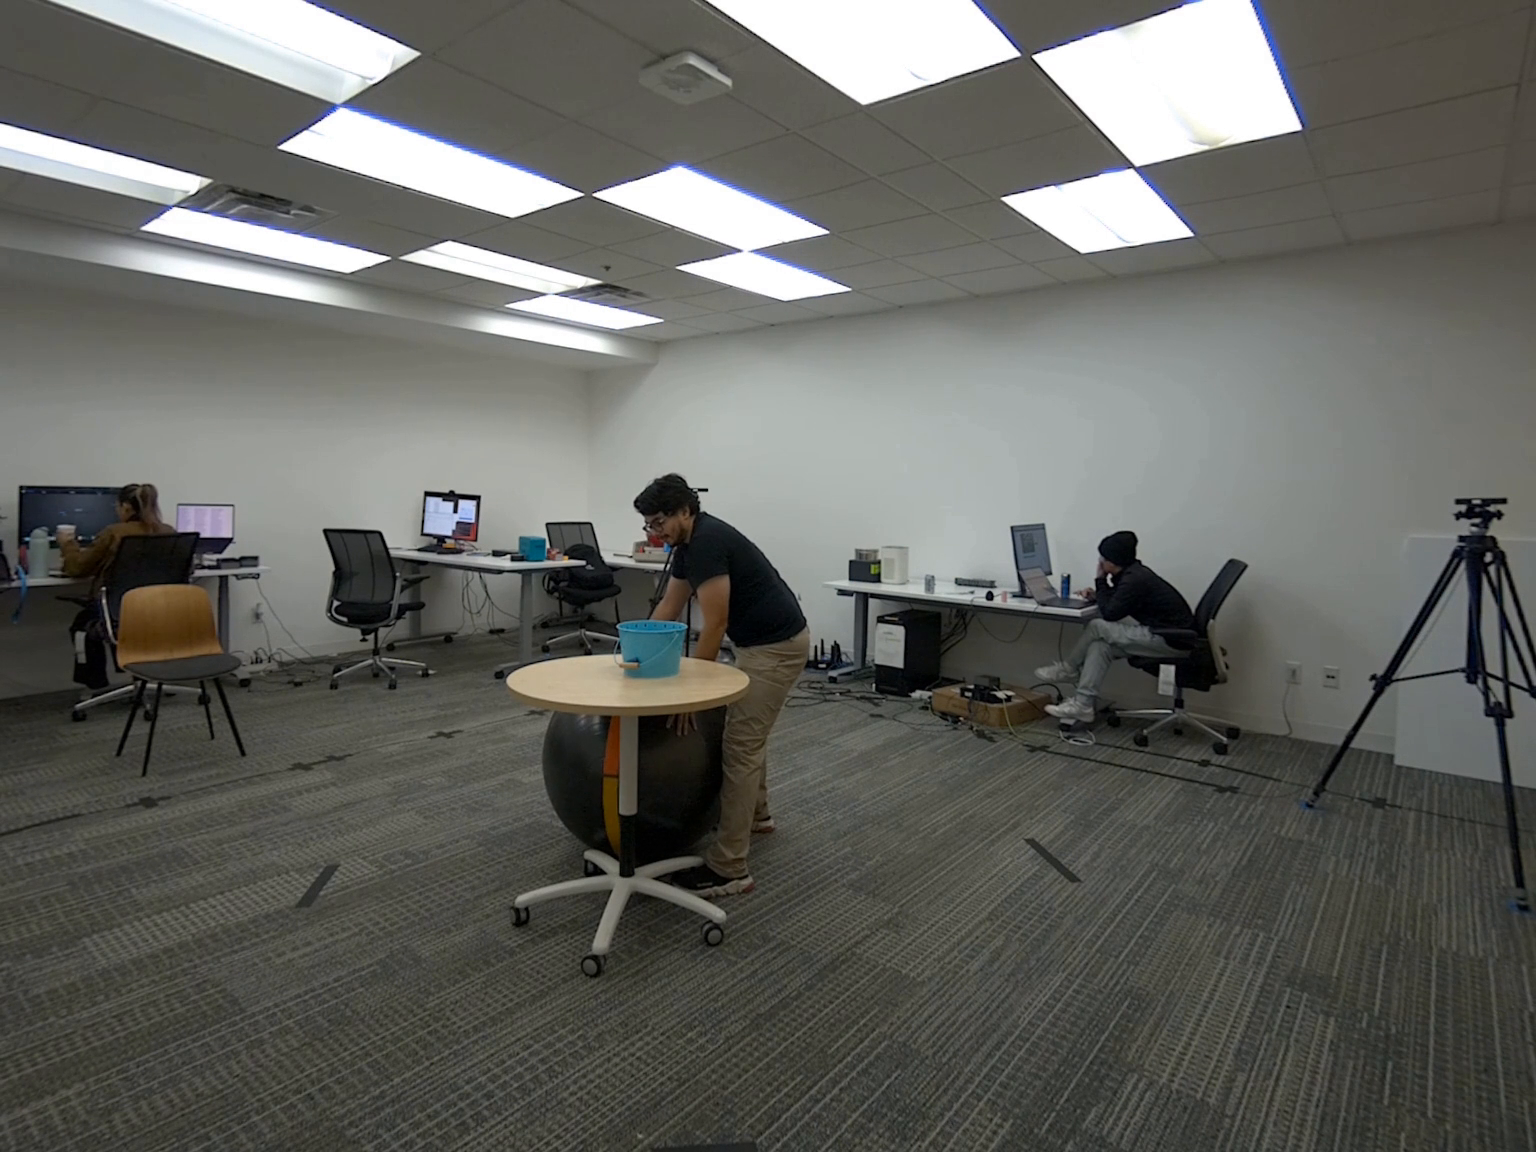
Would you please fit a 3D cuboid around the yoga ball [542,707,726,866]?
[{"bbox_3d":[-0.507,0.702,3.299,0.757,0.755,0.762,1,4,-2],"label":"yoga ball"}]
